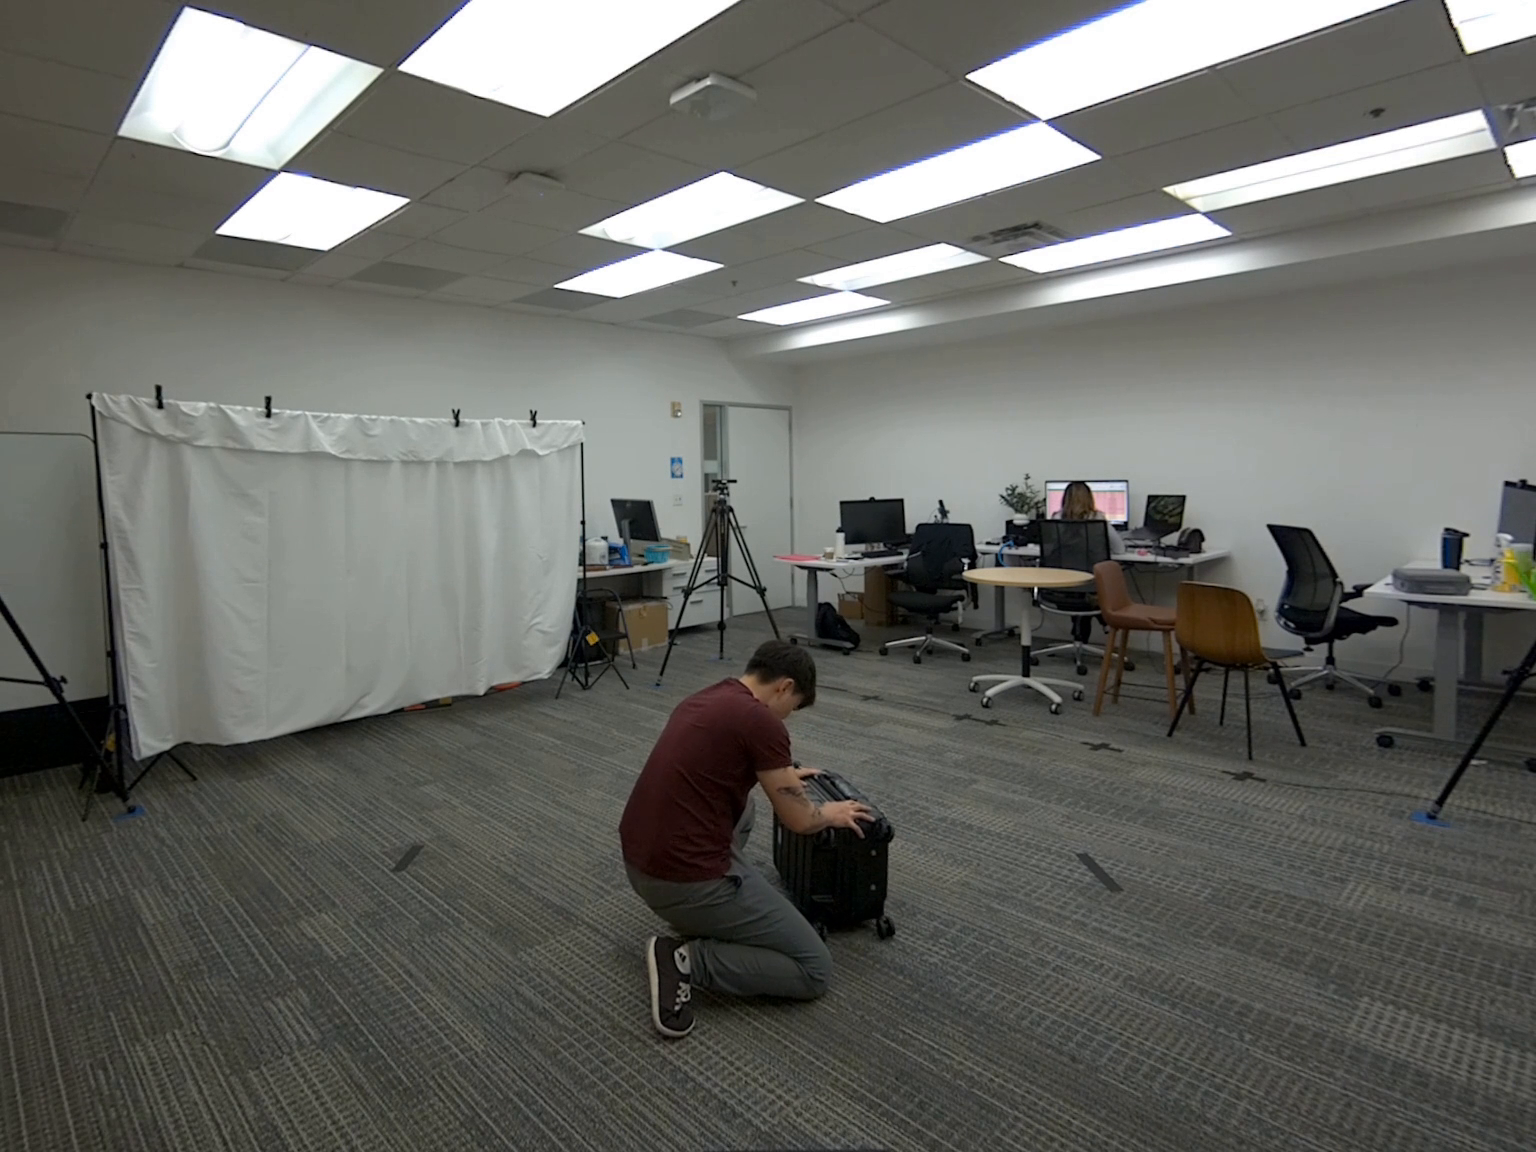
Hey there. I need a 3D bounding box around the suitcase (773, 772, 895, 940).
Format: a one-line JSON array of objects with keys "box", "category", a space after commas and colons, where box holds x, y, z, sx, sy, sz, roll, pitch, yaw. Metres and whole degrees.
[{"box": [0.139, 0.866, 3.030, 0.253, 0.383, 0.995, 0, 4, -16], "category": "suitcase"}]
